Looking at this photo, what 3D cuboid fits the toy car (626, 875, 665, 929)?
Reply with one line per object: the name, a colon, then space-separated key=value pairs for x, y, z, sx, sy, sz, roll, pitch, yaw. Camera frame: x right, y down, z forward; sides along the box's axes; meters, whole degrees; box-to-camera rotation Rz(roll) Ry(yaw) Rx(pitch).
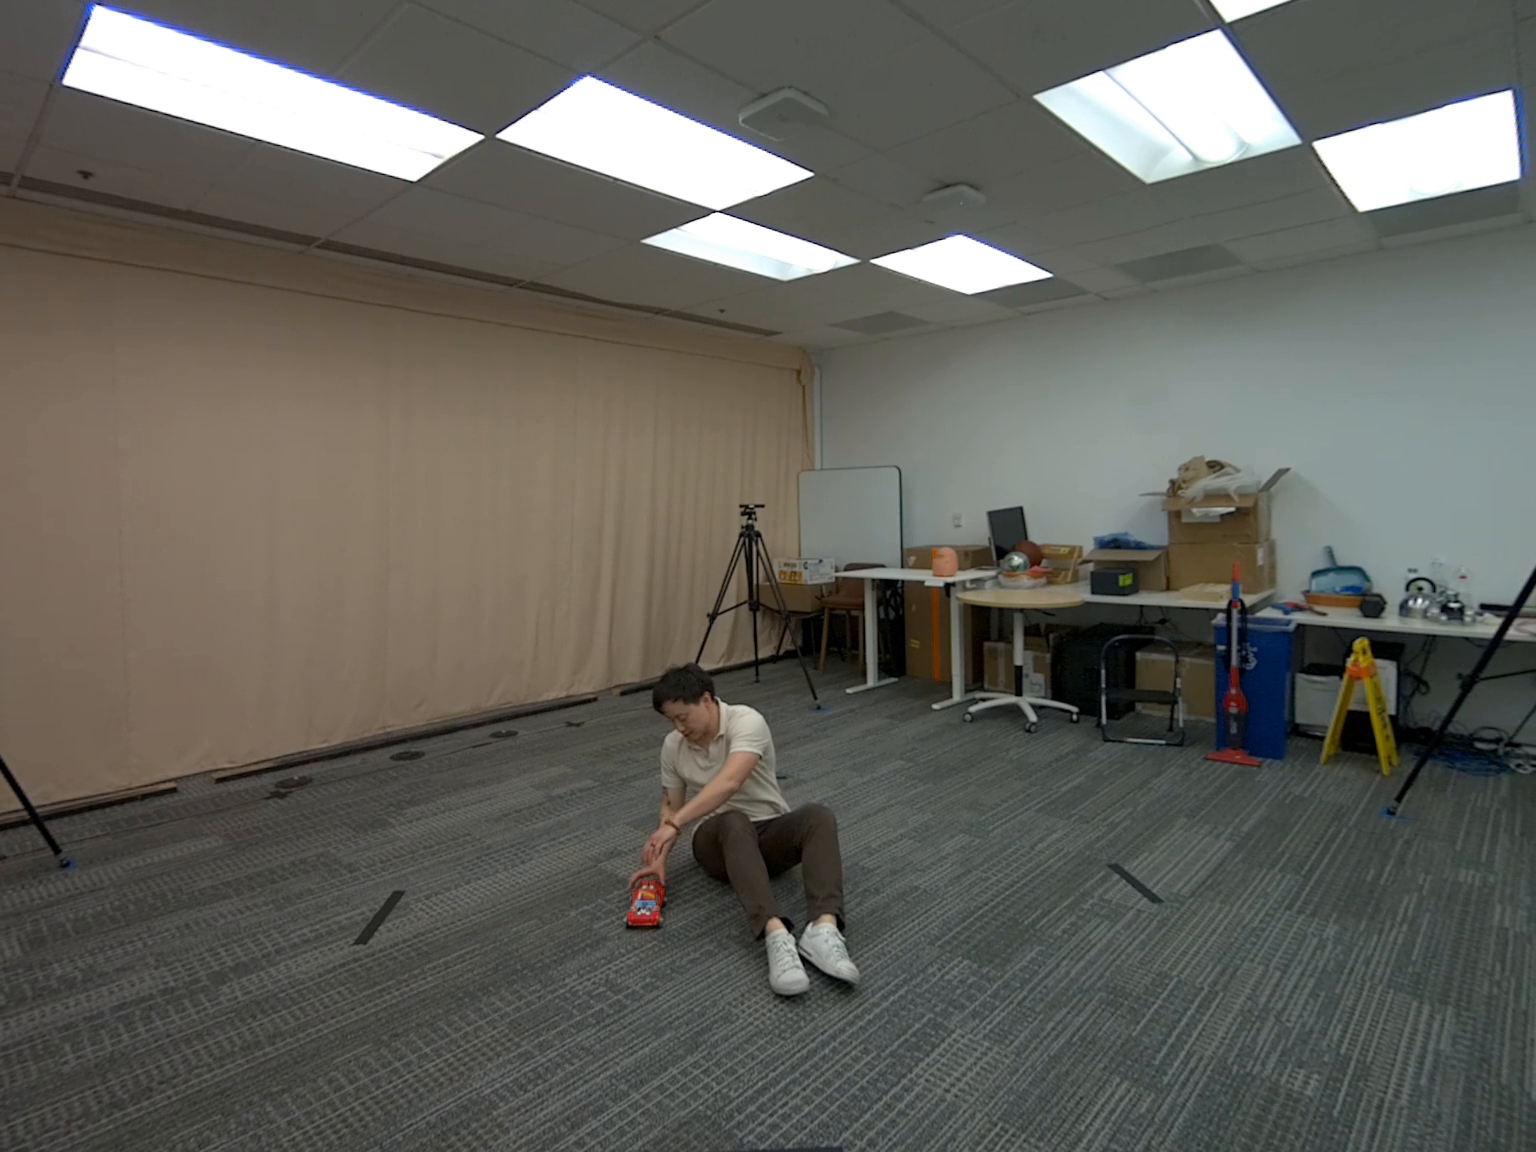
toy car: x=-0.413 y=1.126 z=2.893 sx=0.130 sy=0.082 sz=0.256 roll=-1 pitch=14 yaw=0
